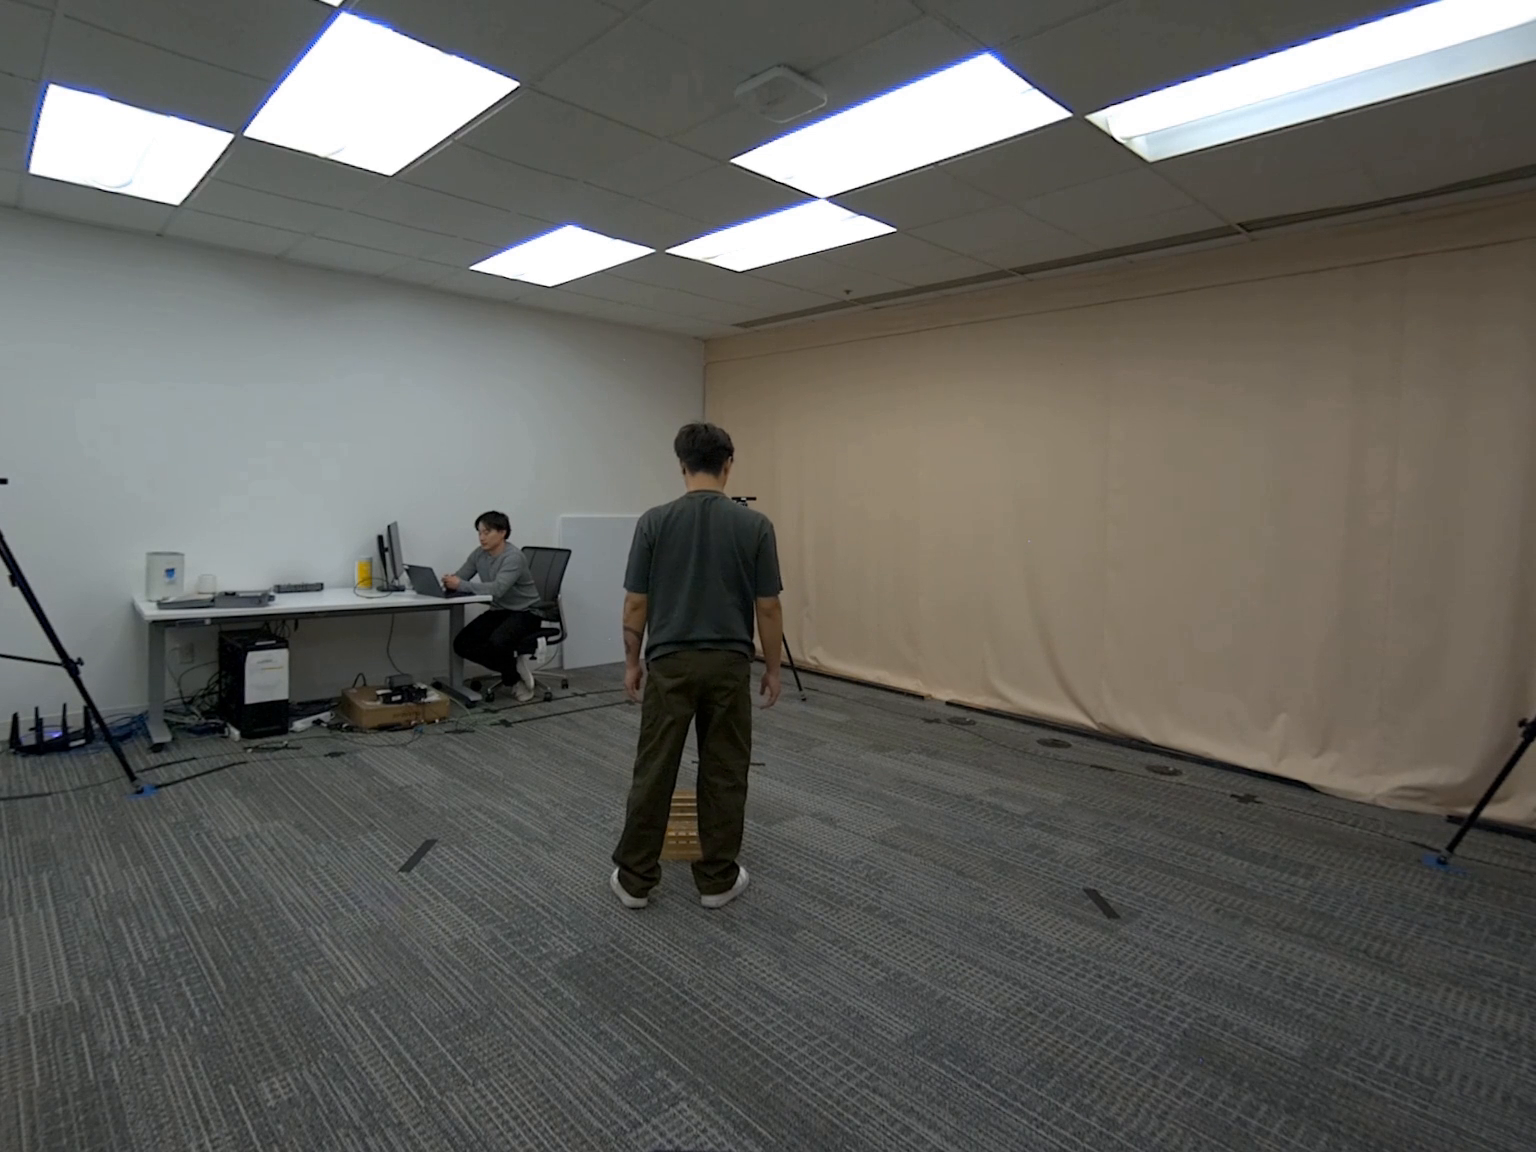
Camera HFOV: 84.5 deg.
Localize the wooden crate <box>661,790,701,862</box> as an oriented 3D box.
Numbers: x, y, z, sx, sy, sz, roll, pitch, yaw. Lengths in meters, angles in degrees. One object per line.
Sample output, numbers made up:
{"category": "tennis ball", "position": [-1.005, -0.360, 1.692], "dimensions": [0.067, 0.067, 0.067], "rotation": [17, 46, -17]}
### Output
{"category": "wooden crate", "position": [-0.298, 0.953, 3.334], "dimensions": [0.323, 0.272, 0.304], "rotation": [1, 4, -5]}
